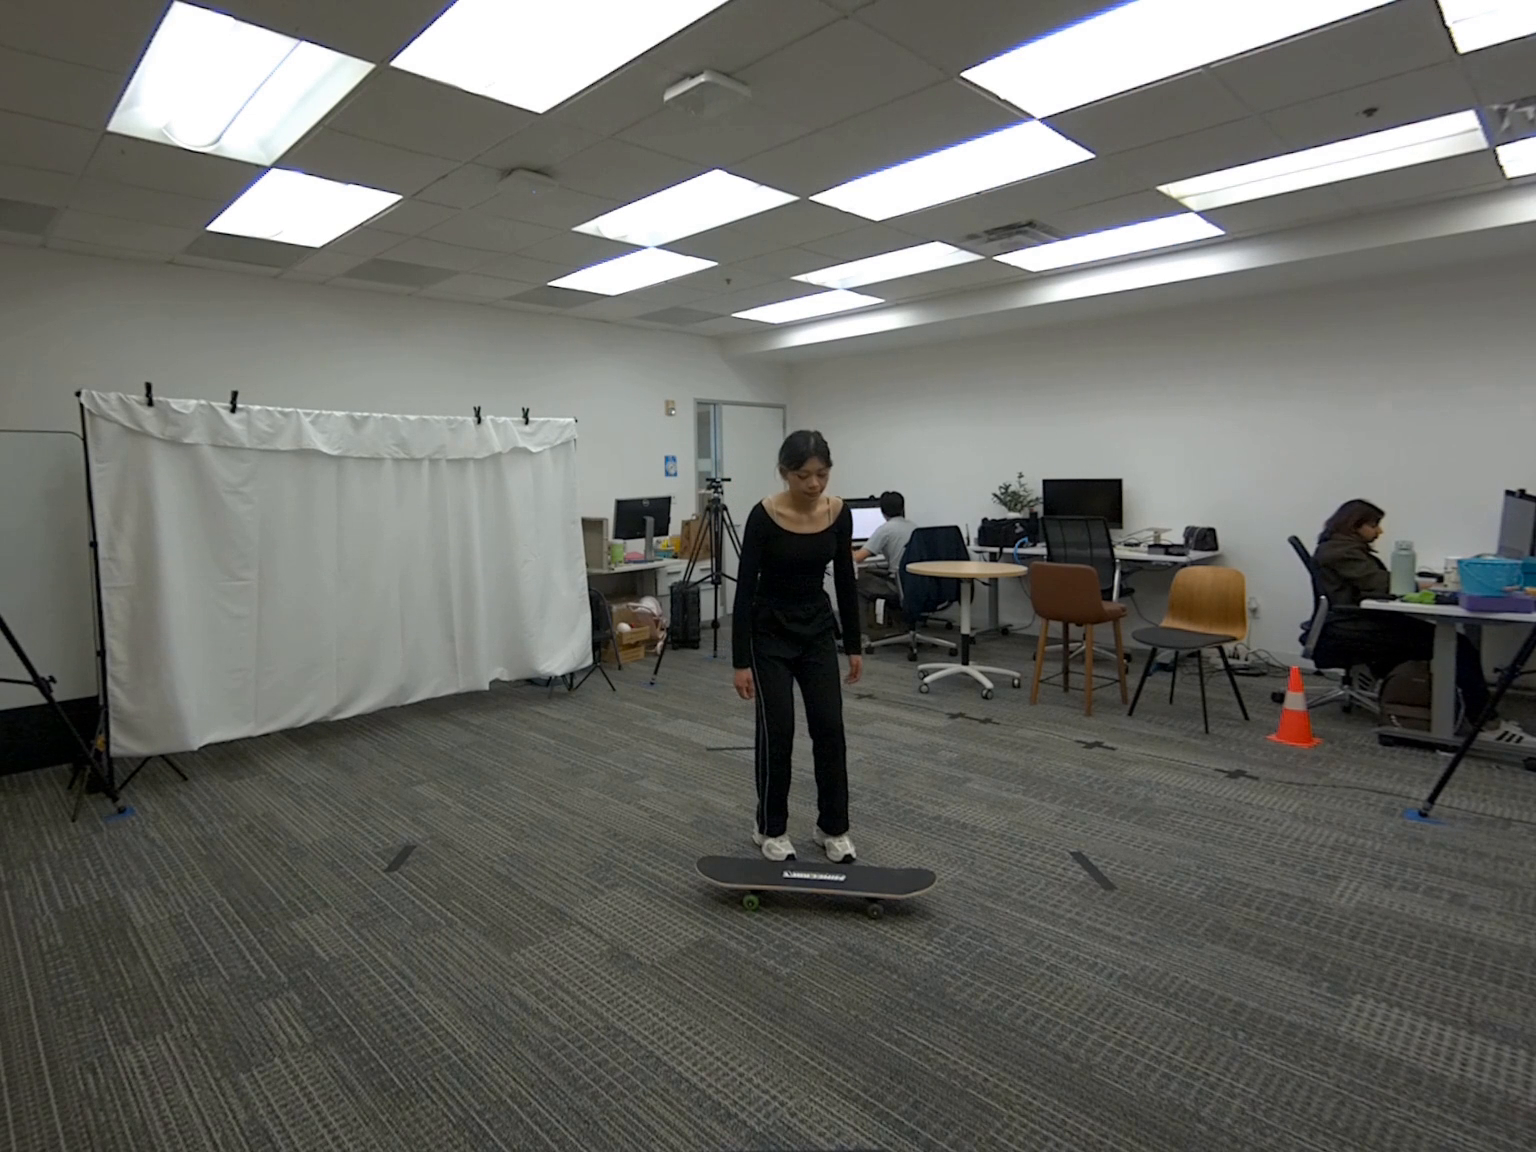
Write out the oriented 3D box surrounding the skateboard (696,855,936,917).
[{"bbox_3d":[0.152,1.012,2.810,0.793,0.110,0.192,0,6,10],"label":"skateboard"}]
